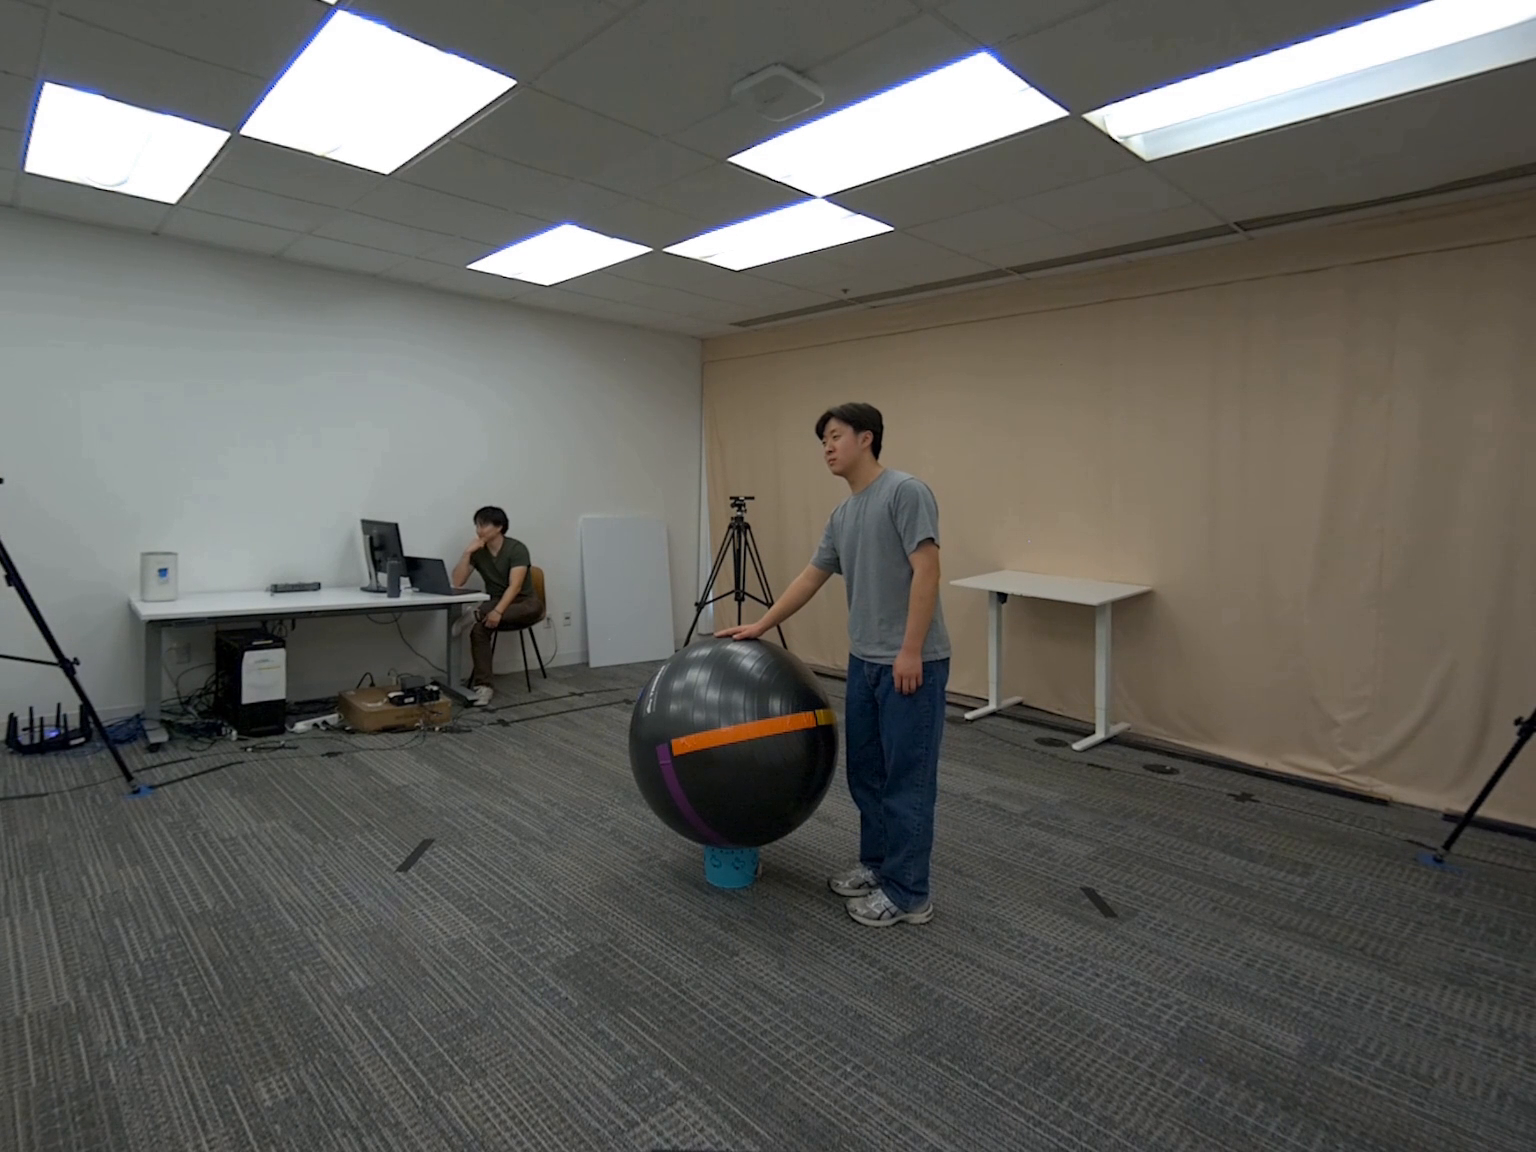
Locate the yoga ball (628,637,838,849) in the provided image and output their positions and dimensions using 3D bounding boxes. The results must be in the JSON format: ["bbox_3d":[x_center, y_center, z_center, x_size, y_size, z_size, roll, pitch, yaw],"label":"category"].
[{"bbox_3d":[-0.129,0.592,3.064,0.757,0.756,0.761,1,4,-1],"label":"yoga ball"}]
